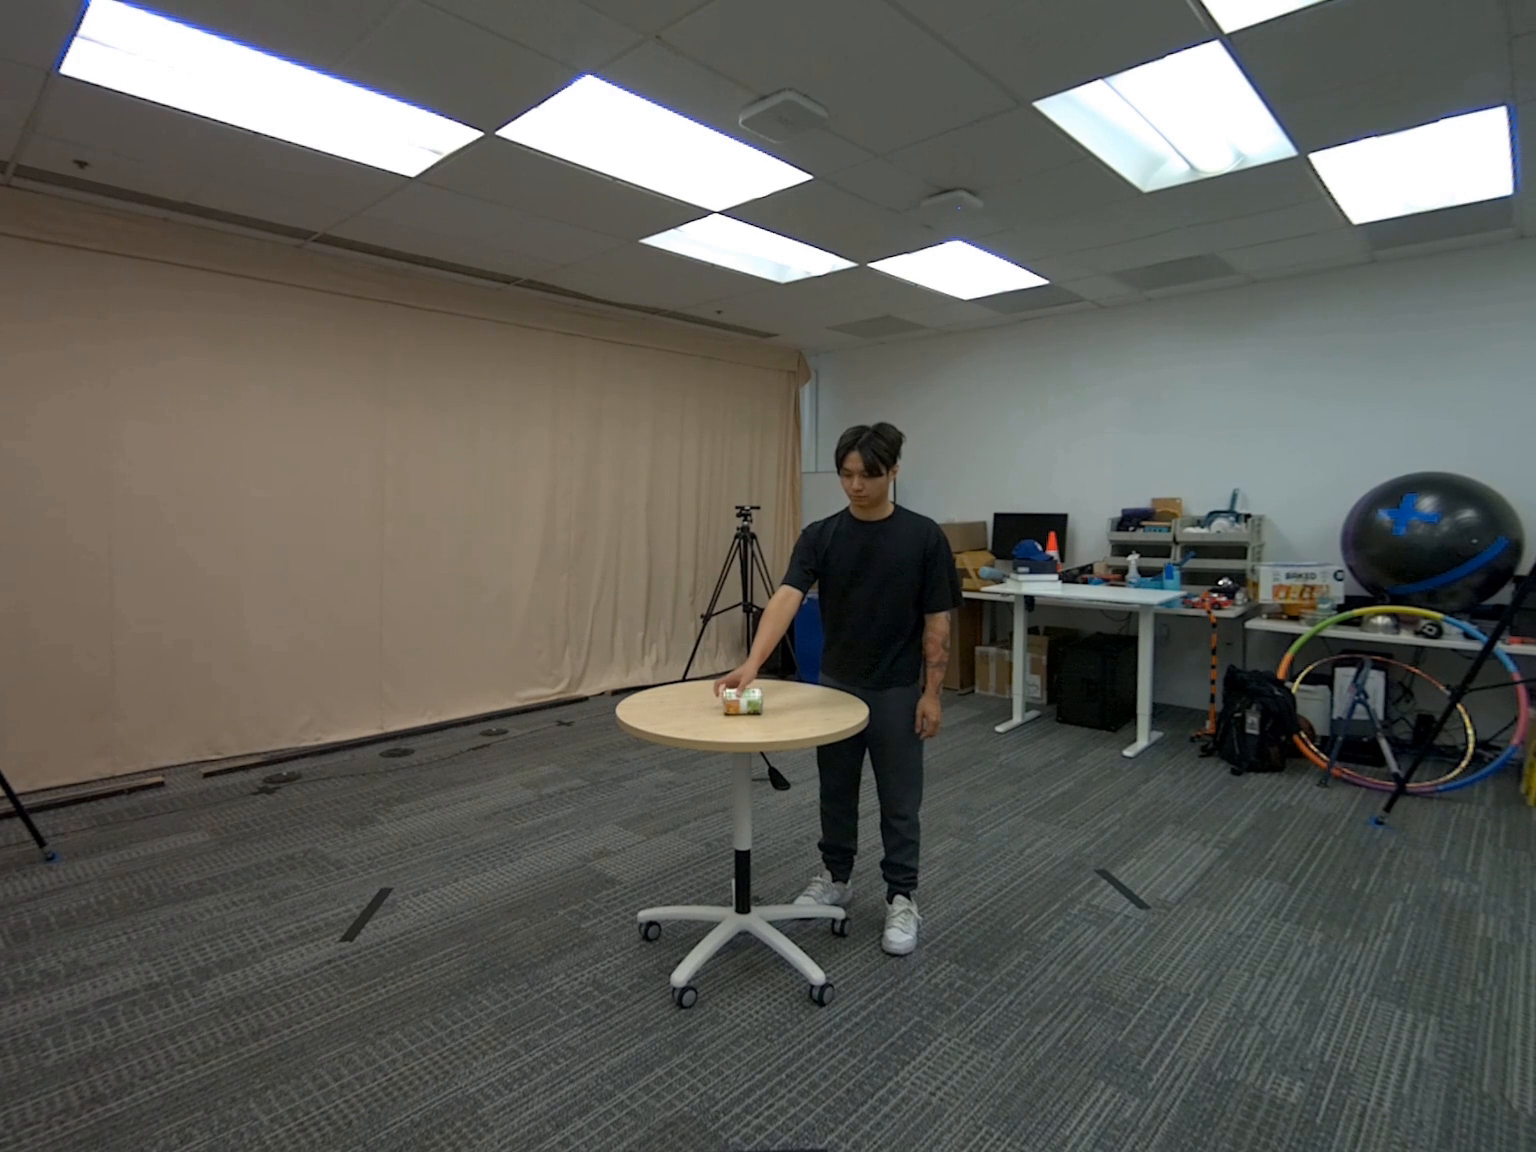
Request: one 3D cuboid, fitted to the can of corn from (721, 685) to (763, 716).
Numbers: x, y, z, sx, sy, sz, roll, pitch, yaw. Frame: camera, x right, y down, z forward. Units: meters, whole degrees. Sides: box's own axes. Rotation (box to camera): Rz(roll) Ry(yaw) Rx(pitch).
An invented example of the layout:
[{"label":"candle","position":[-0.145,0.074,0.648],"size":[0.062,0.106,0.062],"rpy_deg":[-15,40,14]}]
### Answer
[{"label":"can of corn","position":[-0.067,0.367,2.474],"size":[0.111,0.074,0.074],"rpy_deg":[-2,4,-2]}]
